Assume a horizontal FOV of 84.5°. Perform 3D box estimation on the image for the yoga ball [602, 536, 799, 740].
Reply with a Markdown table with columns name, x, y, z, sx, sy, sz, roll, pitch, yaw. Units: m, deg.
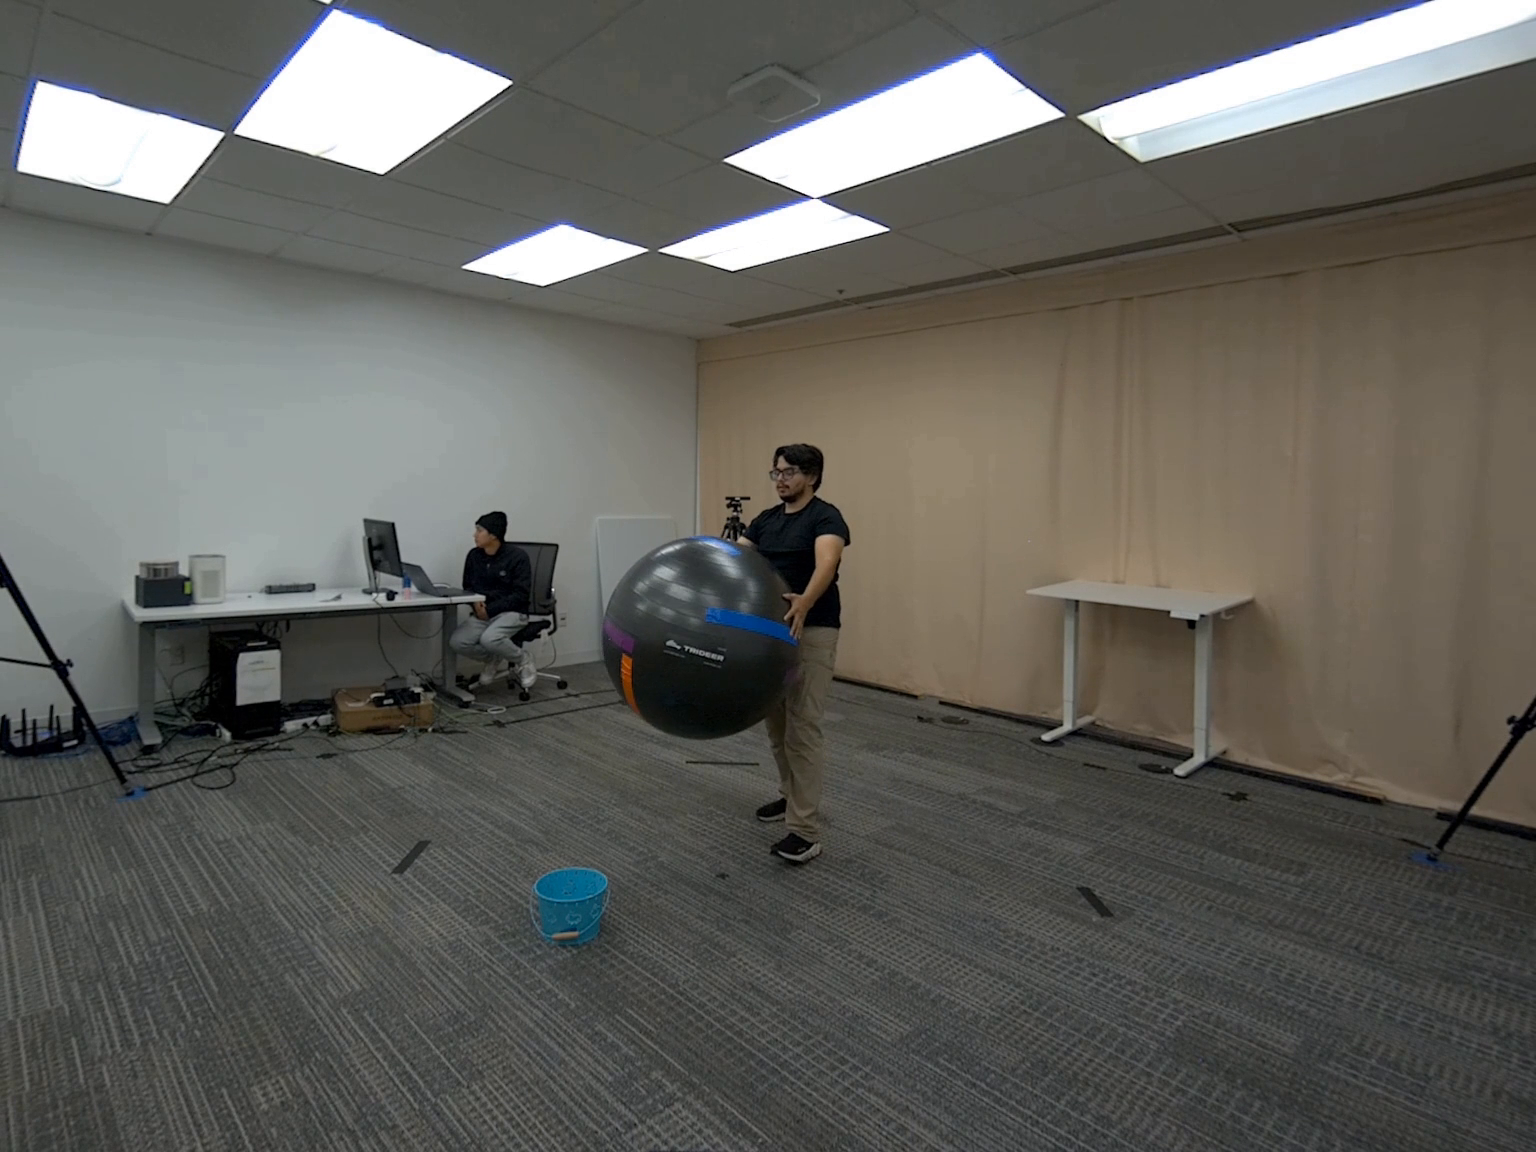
| name | x | y | z | sx | sy | sz | roll | pitch | yaw |
| --- | --- | --- | --- | --- | --- | --- | --- | --- | --- |
| yoga ball | -0.248 | 0.237 | 3.167 | 0.757 | 0.756 | 0.760 | 1 | 4 | -1 |
